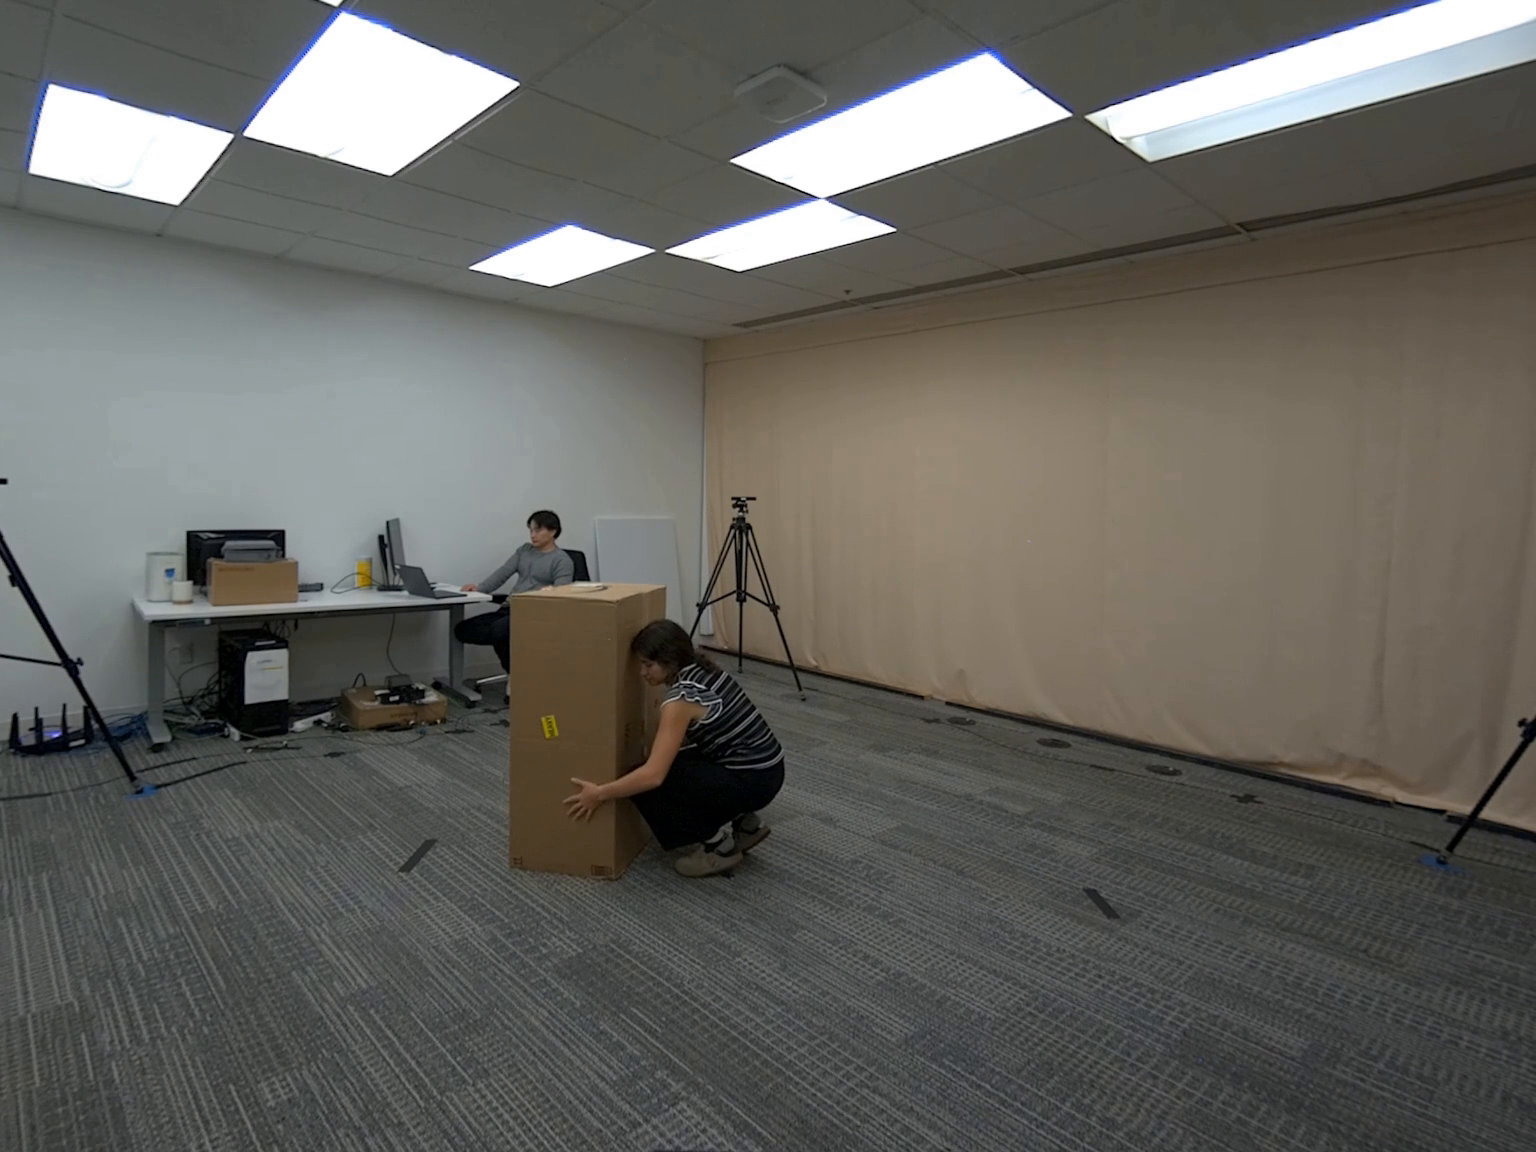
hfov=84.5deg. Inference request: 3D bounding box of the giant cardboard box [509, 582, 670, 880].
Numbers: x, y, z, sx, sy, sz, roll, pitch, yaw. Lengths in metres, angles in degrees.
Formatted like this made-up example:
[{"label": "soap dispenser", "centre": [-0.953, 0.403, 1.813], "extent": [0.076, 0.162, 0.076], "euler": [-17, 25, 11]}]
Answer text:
[{"label": "giant cardboard box", "centre": [-0.709, 0.564, 3.331], "extent": [0.430, 1.023, 0.574], "euler": [2, 3, 10]}]
